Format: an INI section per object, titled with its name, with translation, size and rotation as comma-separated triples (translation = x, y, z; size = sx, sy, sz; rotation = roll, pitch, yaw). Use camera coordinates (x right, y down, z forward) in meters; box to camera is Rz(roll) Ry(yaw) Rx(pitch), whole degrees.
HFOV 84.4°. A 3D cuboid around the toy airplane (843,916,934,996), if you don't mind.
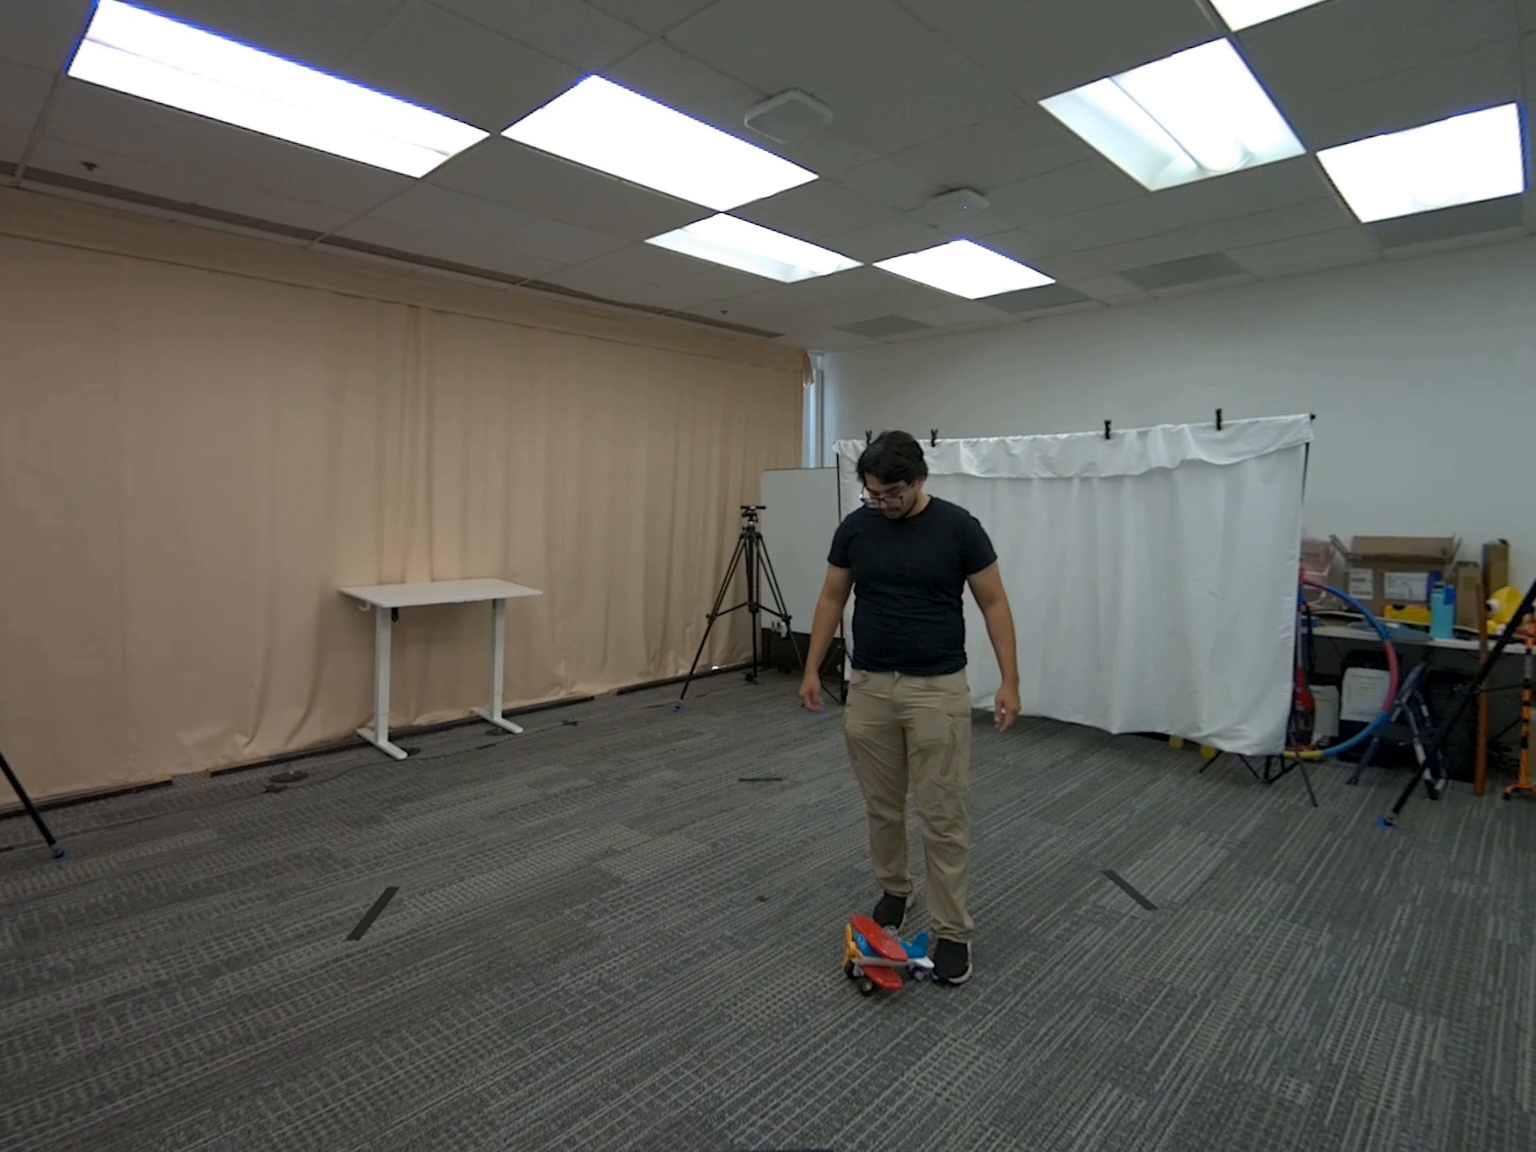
[toy airplane]
translation = 0.345, 1.114, 2.473
size = 0.259, 0.156, 0.251
rotation = 5, 8, 43
